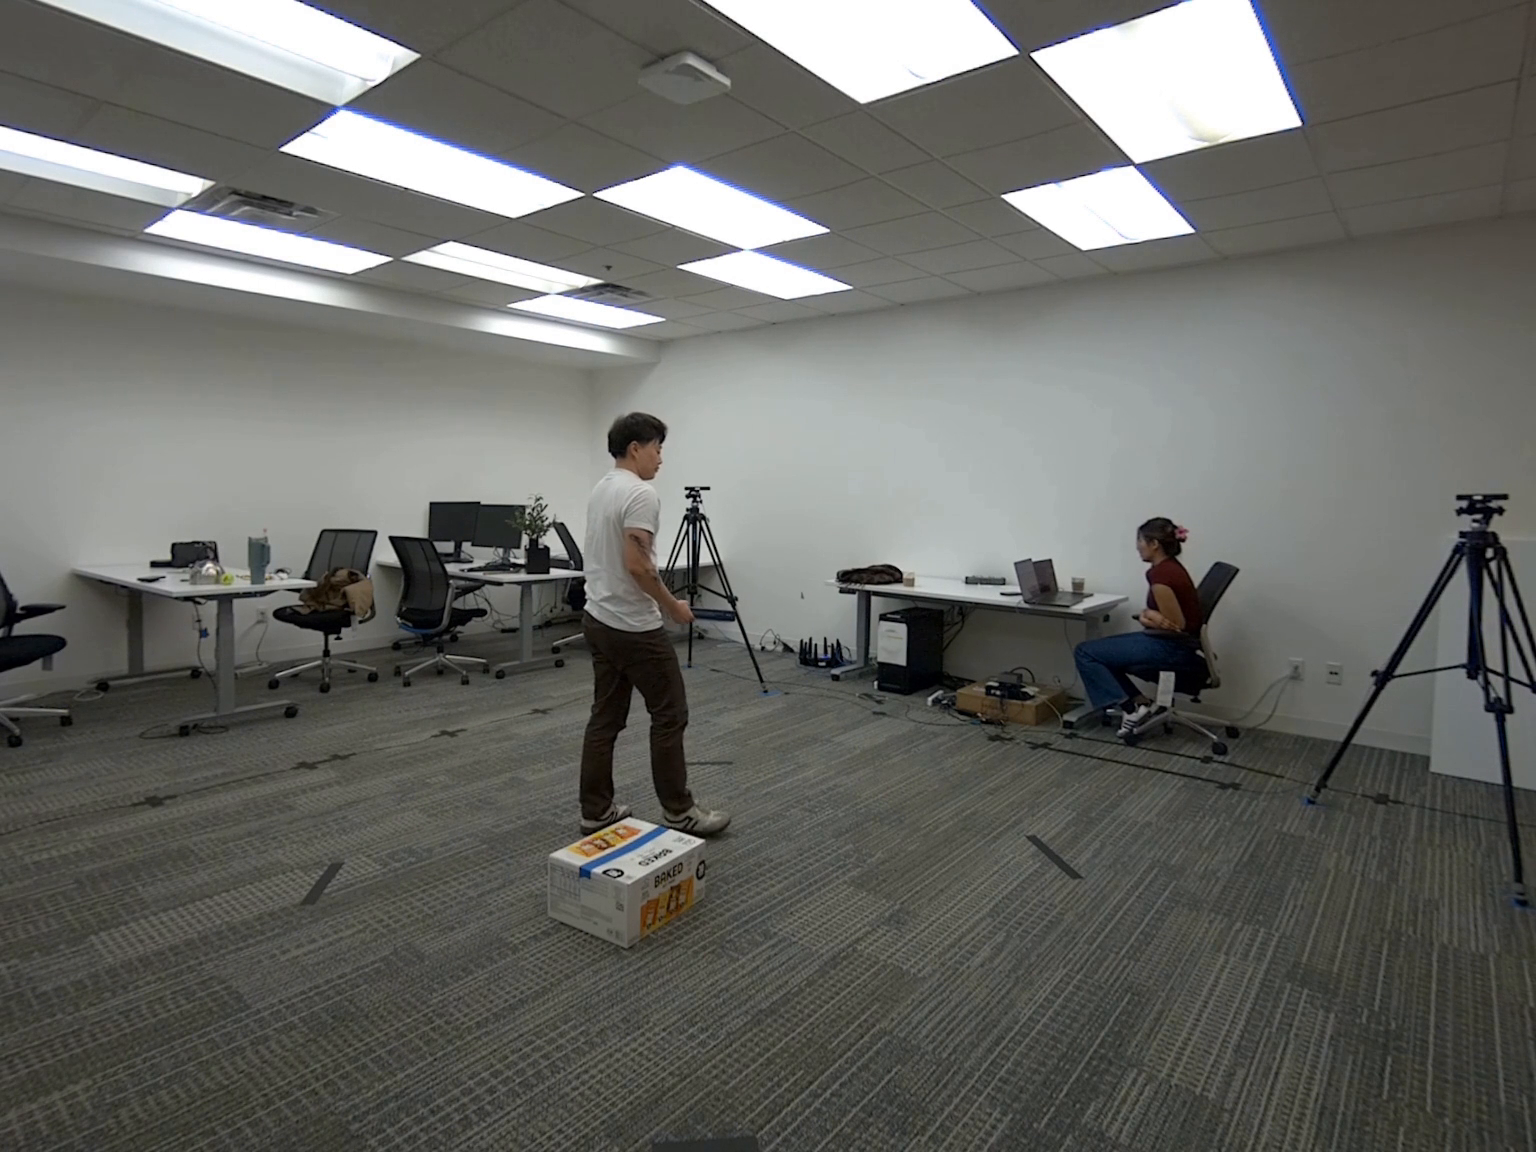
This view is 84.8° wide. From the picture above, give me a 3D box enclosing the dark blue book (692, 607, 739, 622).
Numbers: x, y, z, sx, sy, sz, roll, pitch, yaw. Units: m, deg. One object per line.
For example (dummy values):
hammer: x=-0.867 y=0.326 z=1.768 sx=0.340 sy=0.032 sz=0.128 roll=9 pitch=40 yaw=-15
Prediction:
dark blue book: x=-0.264 y=0.158 z=3.467 sx=0.243 sy=0.045 sz=0.164 roll=4 pitch=-4 yaw=-9
